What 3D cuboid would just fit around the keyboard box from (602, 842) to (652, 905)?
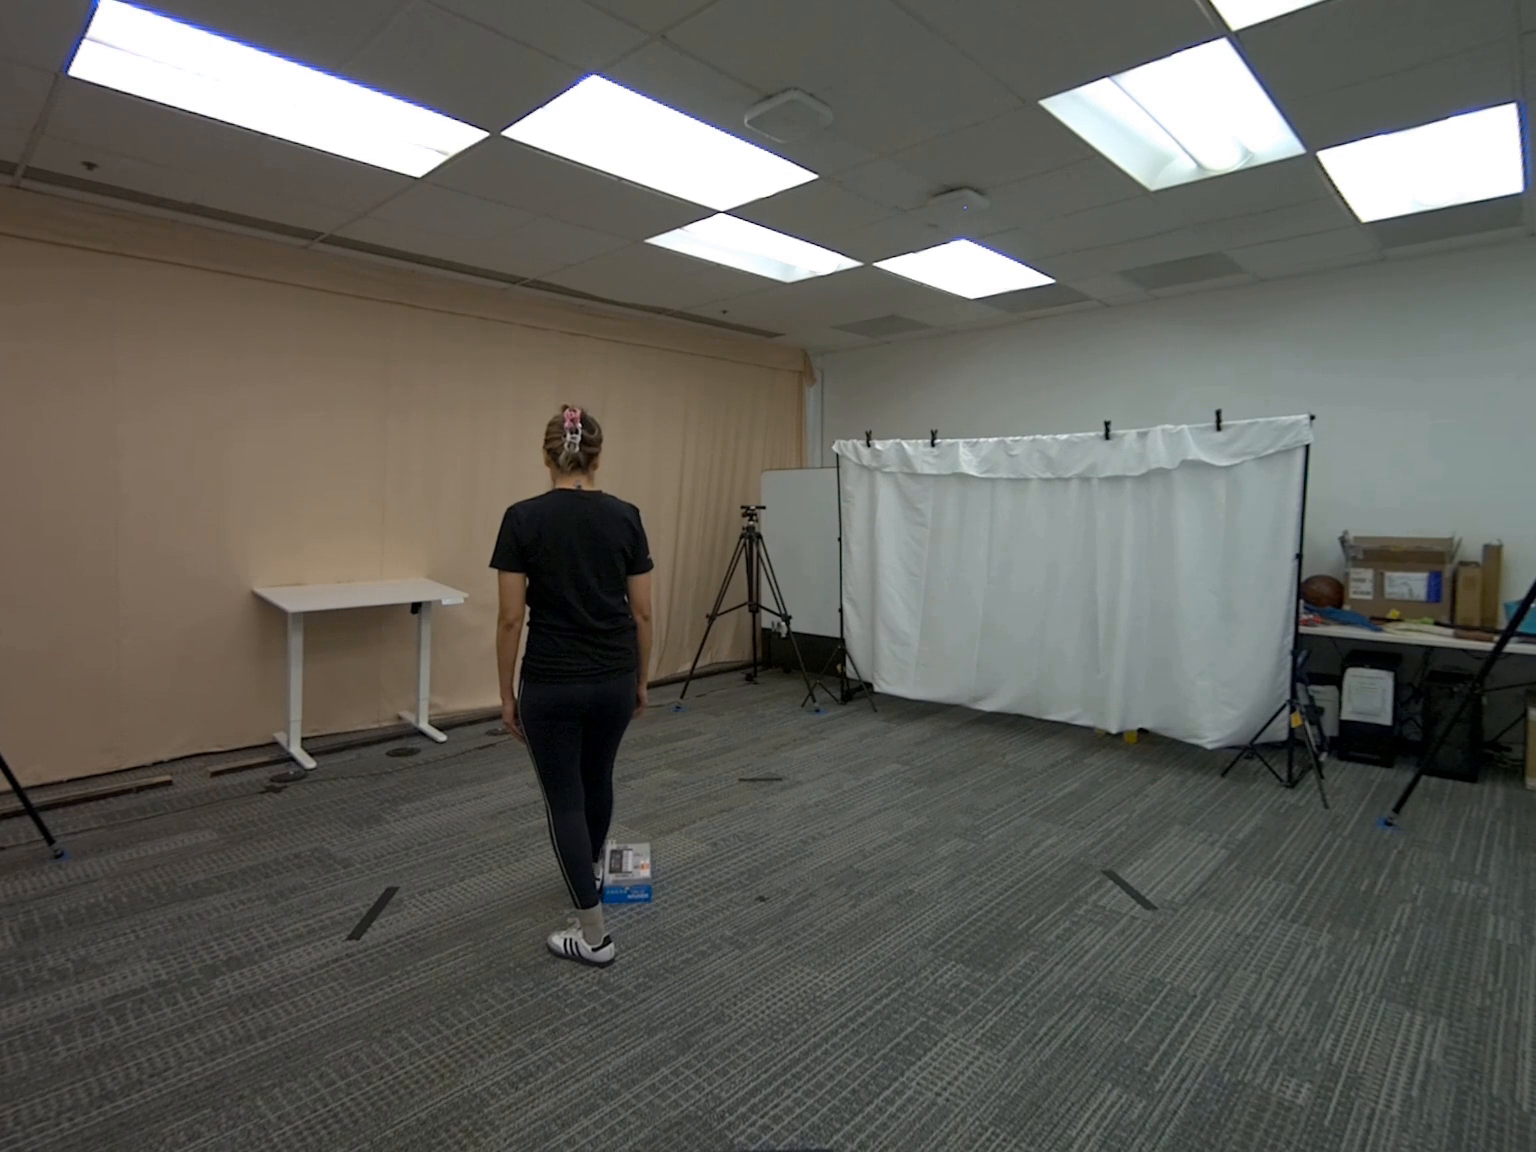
[{"bbox_3d":[-0.523,1.103,3.175,0.174,0.059,0.441,0,4,-9],"label":"keyboard box"}]
